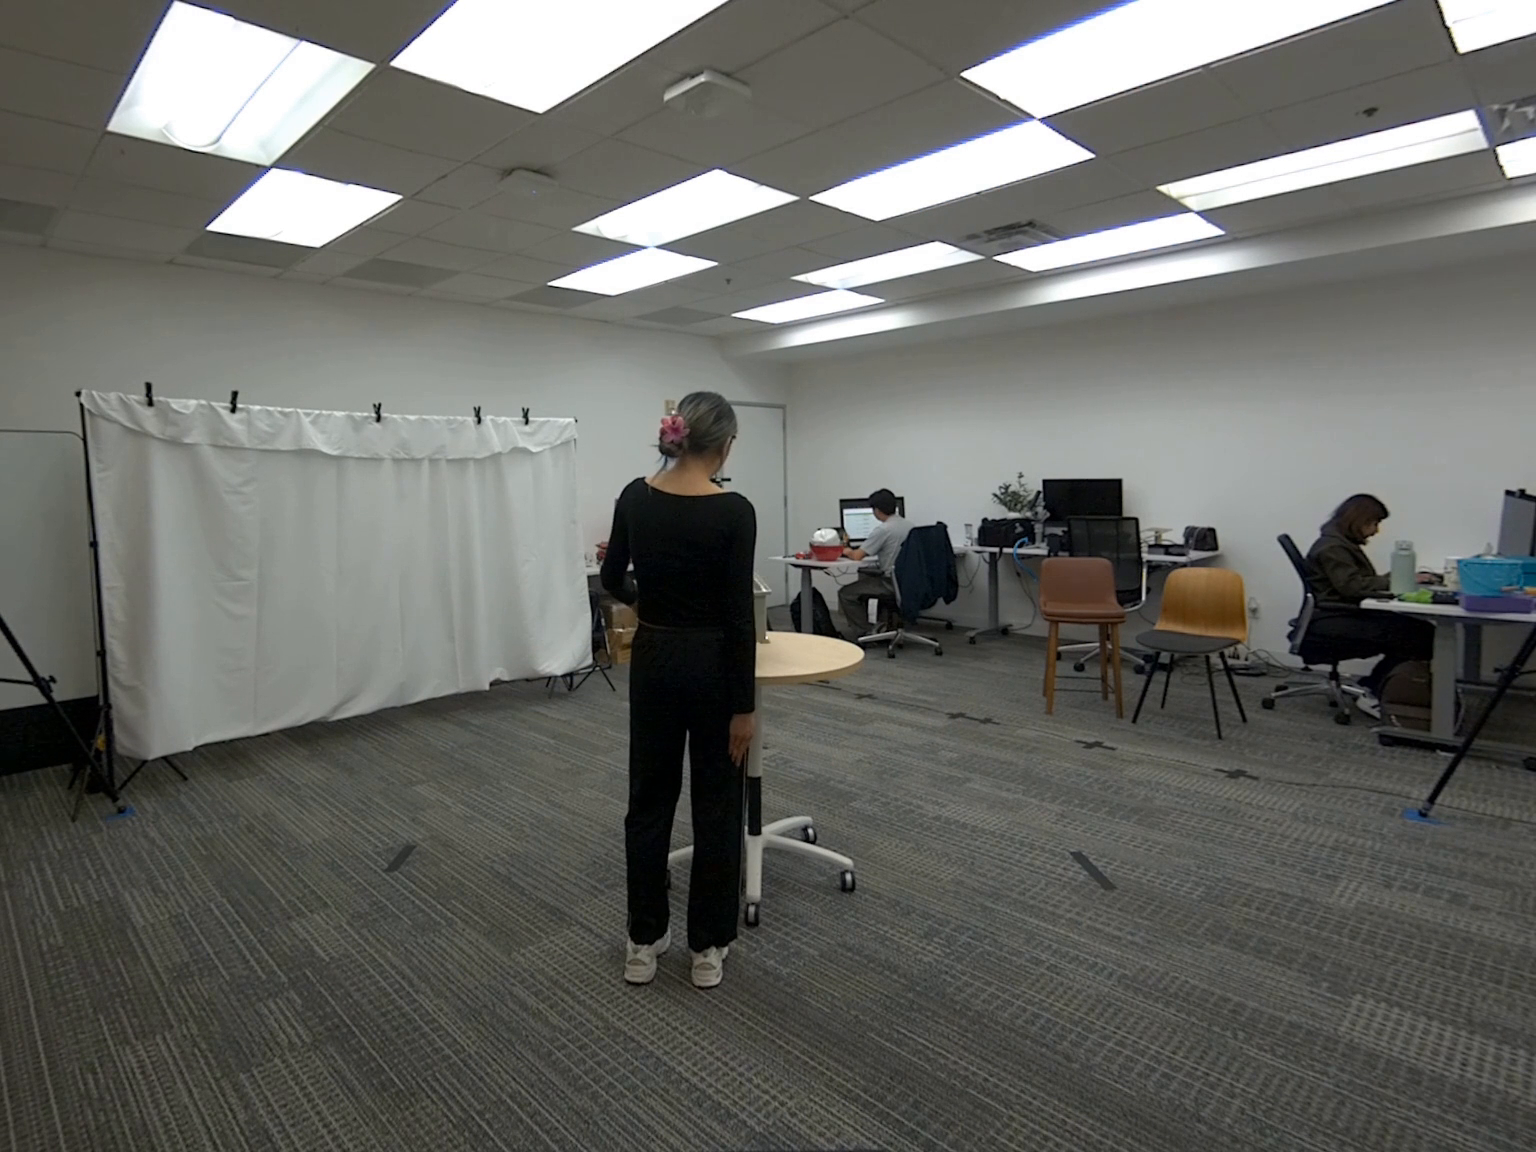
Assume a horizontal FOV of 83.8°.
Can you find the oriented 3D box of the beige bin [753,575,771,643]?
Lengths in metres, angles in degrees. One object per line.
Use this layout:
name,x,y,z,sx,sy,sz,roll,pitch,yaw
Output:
beige bin,-0.232,0.111,2.912,0.419,0.187,0.385,-4,13,-10
